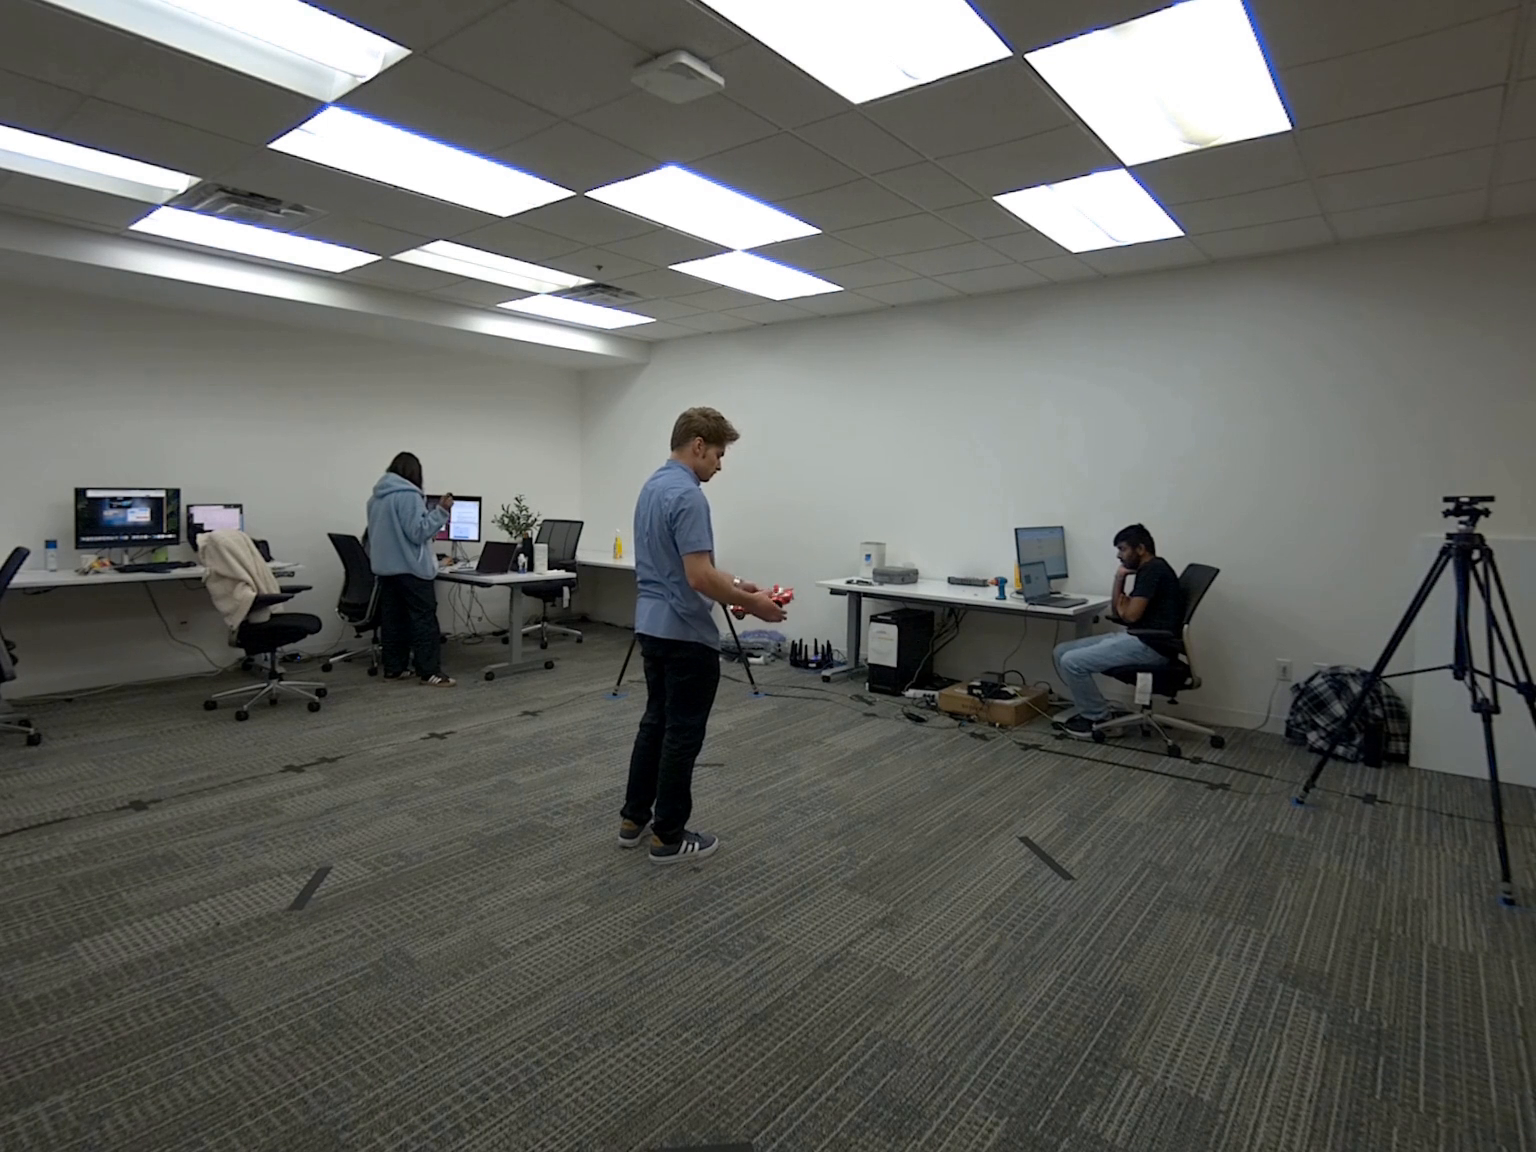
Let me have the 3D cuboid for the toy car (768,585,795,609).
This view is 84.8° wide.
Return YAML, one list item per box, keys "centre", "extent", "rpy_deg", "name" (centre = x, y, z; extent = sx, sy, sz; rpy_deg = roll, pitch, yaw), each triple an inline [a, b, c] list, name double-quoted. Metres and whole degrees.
- centre: [-0.025, 0.103, 3.288]
  extent: [0.256, 0.082, 0.131]
  rpy_deg: [-24, 13, 12]
  name: "toy car"
